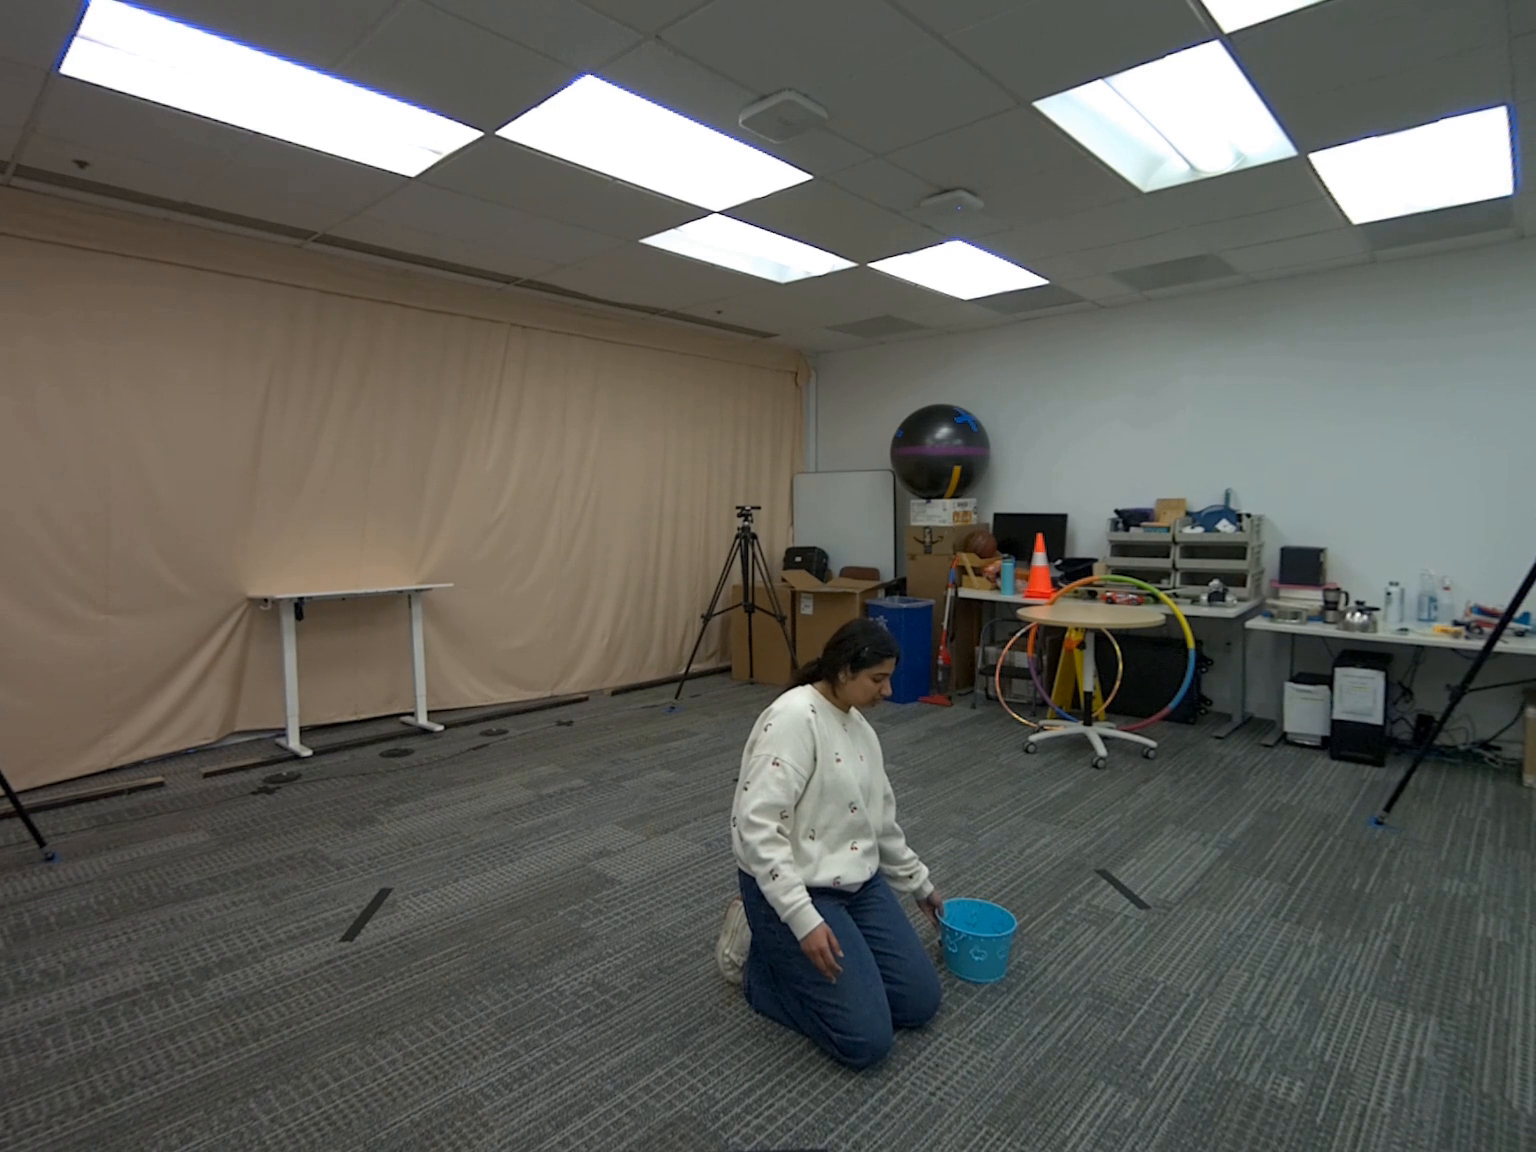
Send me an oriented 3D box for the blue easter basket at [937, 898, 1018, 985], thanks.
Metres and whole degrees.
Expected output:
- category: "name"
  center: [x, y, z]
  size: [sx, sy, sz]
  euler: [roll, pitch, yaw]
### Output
- category: "blue easter basket"
  center: [0.634, 1.102, 2.535]
  size: [0.243, 0.155, 0.244]
  euler: [0, 5, -2]
